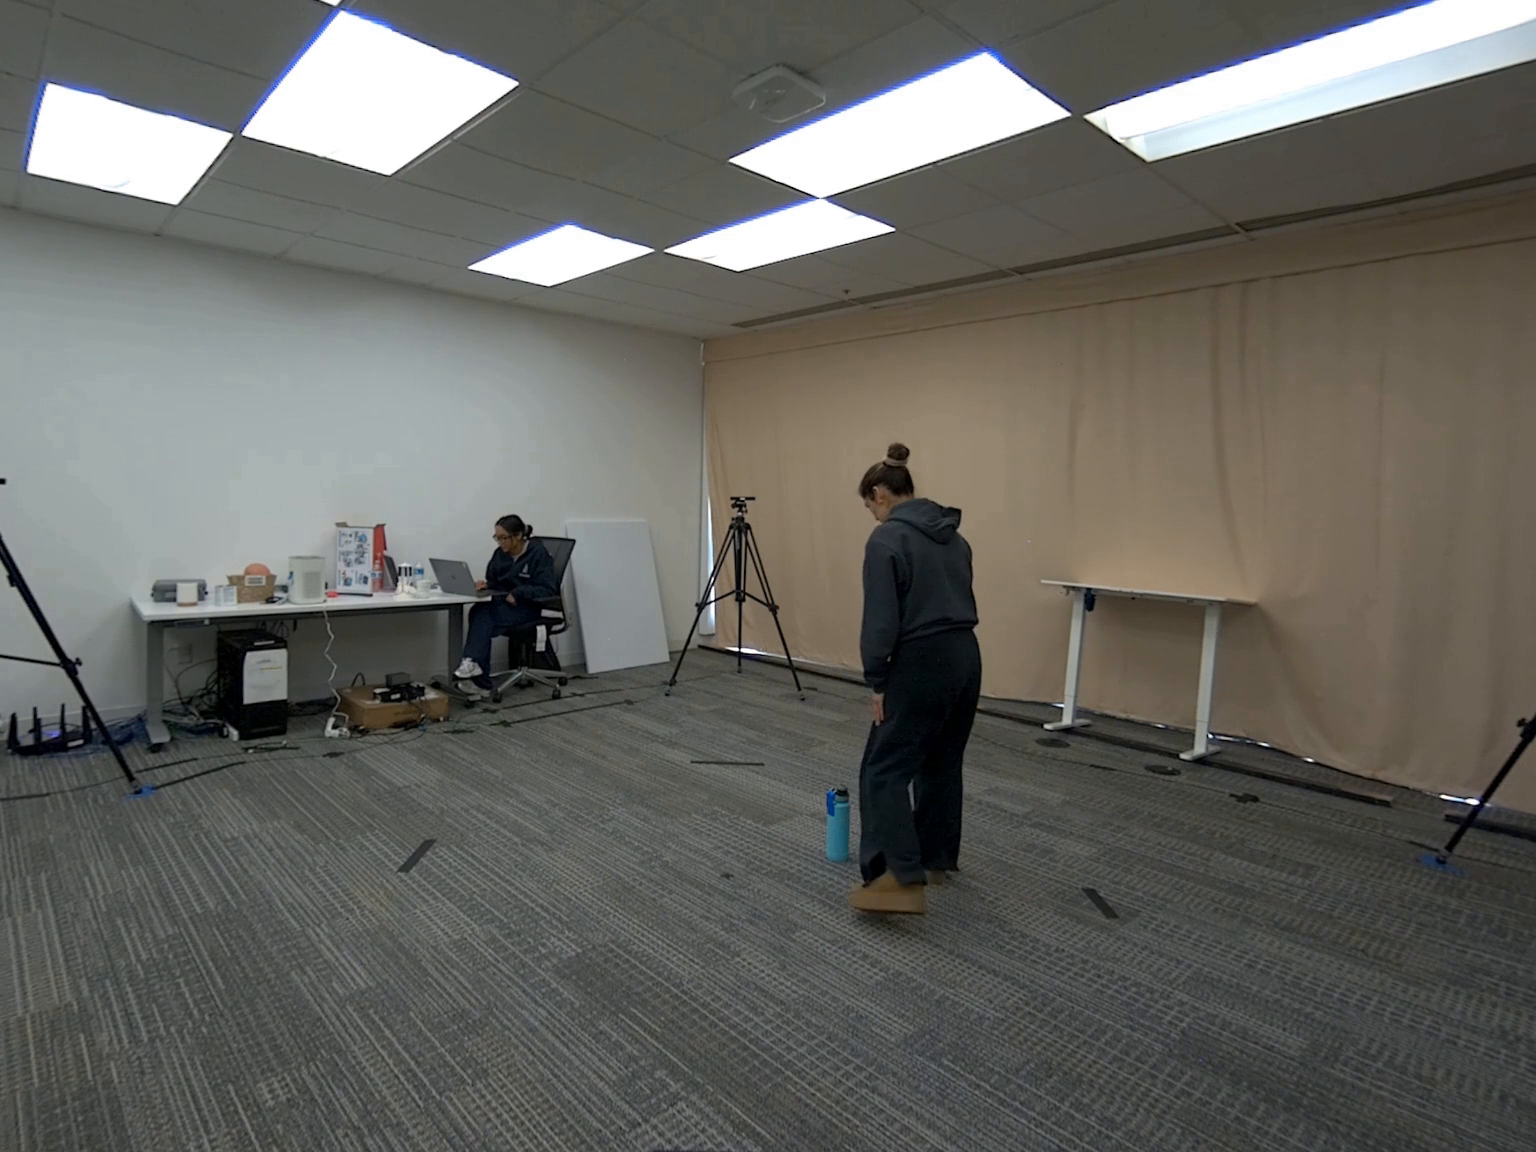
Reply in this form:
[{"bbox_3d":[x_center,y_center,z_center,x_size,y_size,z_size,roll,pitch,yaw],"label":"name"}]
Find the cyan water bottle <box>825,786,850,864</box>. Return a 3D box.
[{"bbox_3d":[0.268,0.958,3.295,0.092,0.282,0.092,1,4,-1],"label":"cyan water bottle"}]
